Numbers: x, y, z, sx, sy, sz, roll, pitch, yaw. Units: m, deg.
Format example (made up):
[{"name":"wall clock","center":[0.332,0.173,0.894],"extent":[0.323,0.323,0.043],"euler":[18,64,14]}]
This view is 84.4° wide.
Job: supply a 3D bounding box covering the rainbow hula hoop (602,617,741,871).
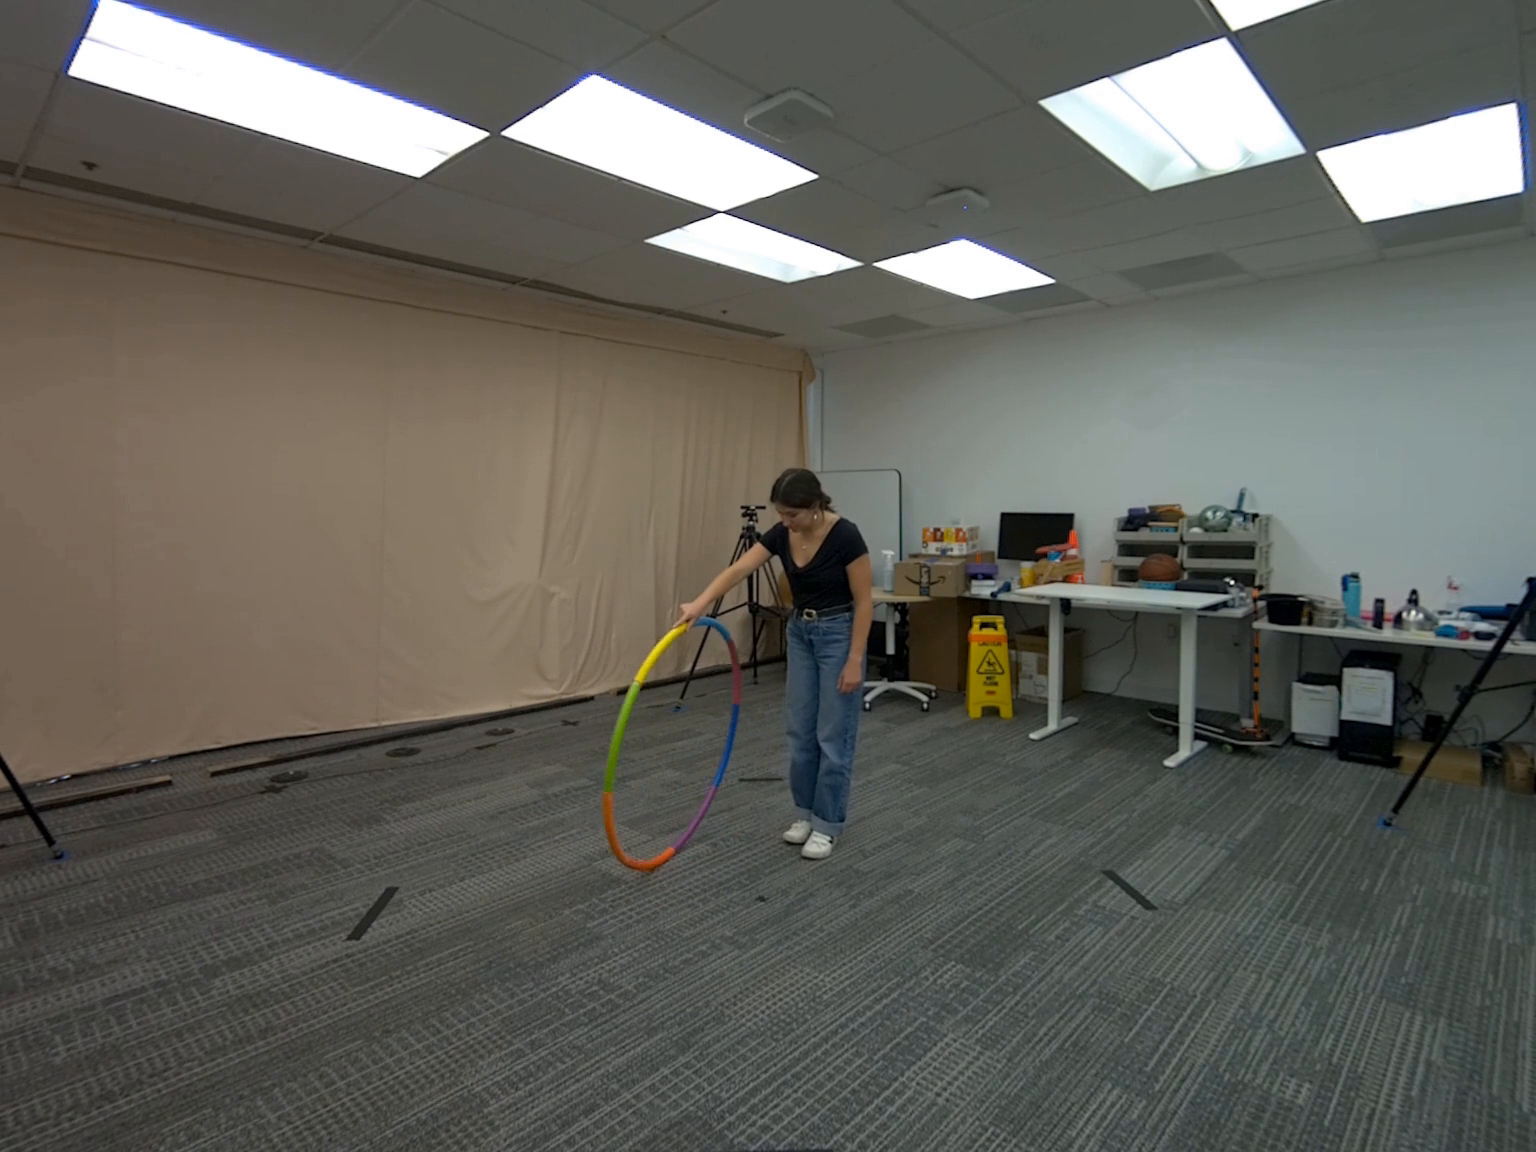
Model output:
[{"name":"rainbow hula hoop","center":[-0.340,0.647,3.262],"extent":[0.036,0.975,0.956],"euler":[11,8,23]}]
